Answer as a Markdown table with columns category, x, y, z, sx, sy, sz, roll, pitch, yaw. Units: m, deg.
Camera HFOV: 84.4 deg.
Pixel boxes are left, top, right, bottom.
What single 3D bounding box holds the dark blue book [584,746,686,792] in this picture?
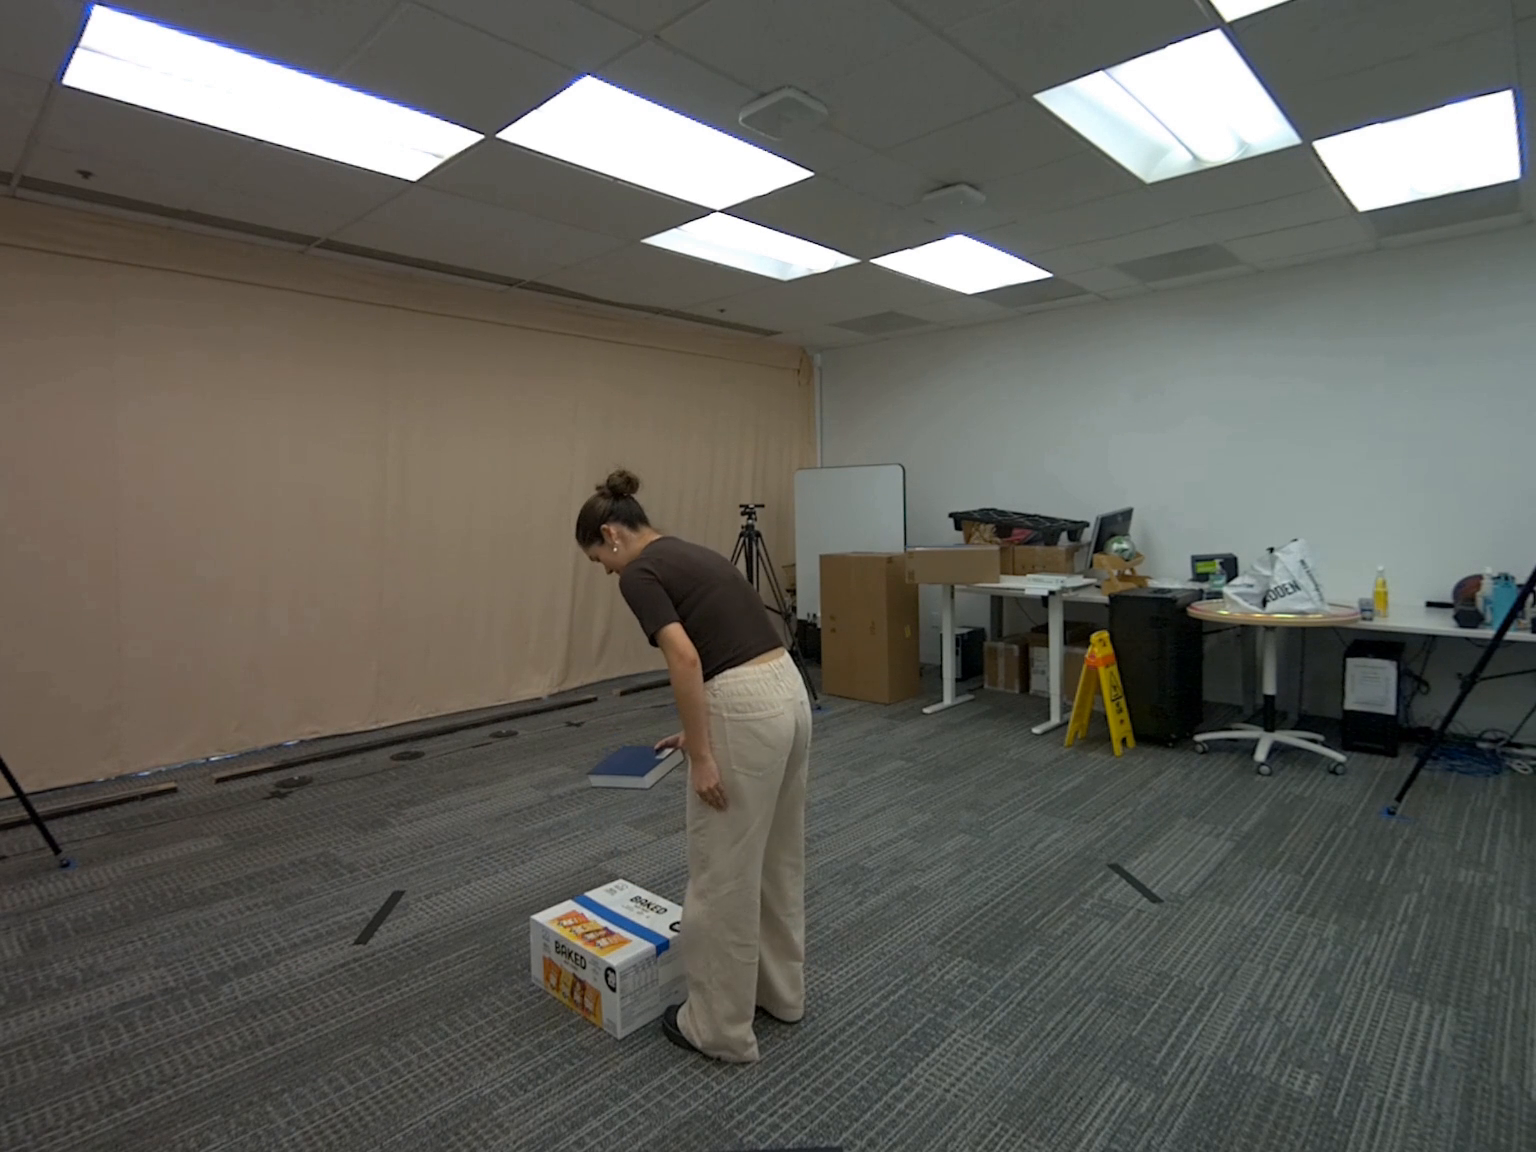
| category | x | y | z | sx | sy | sz | roll | pitch | yaw |
| --- | --- | --- | --- | --- | --- | --- | --- | --- | --- |
| dark blue book | -0.374 | 0.538 | 2.378 | 0.252 | 0.045 | 0.160 | -11 | 12 | 41 |
